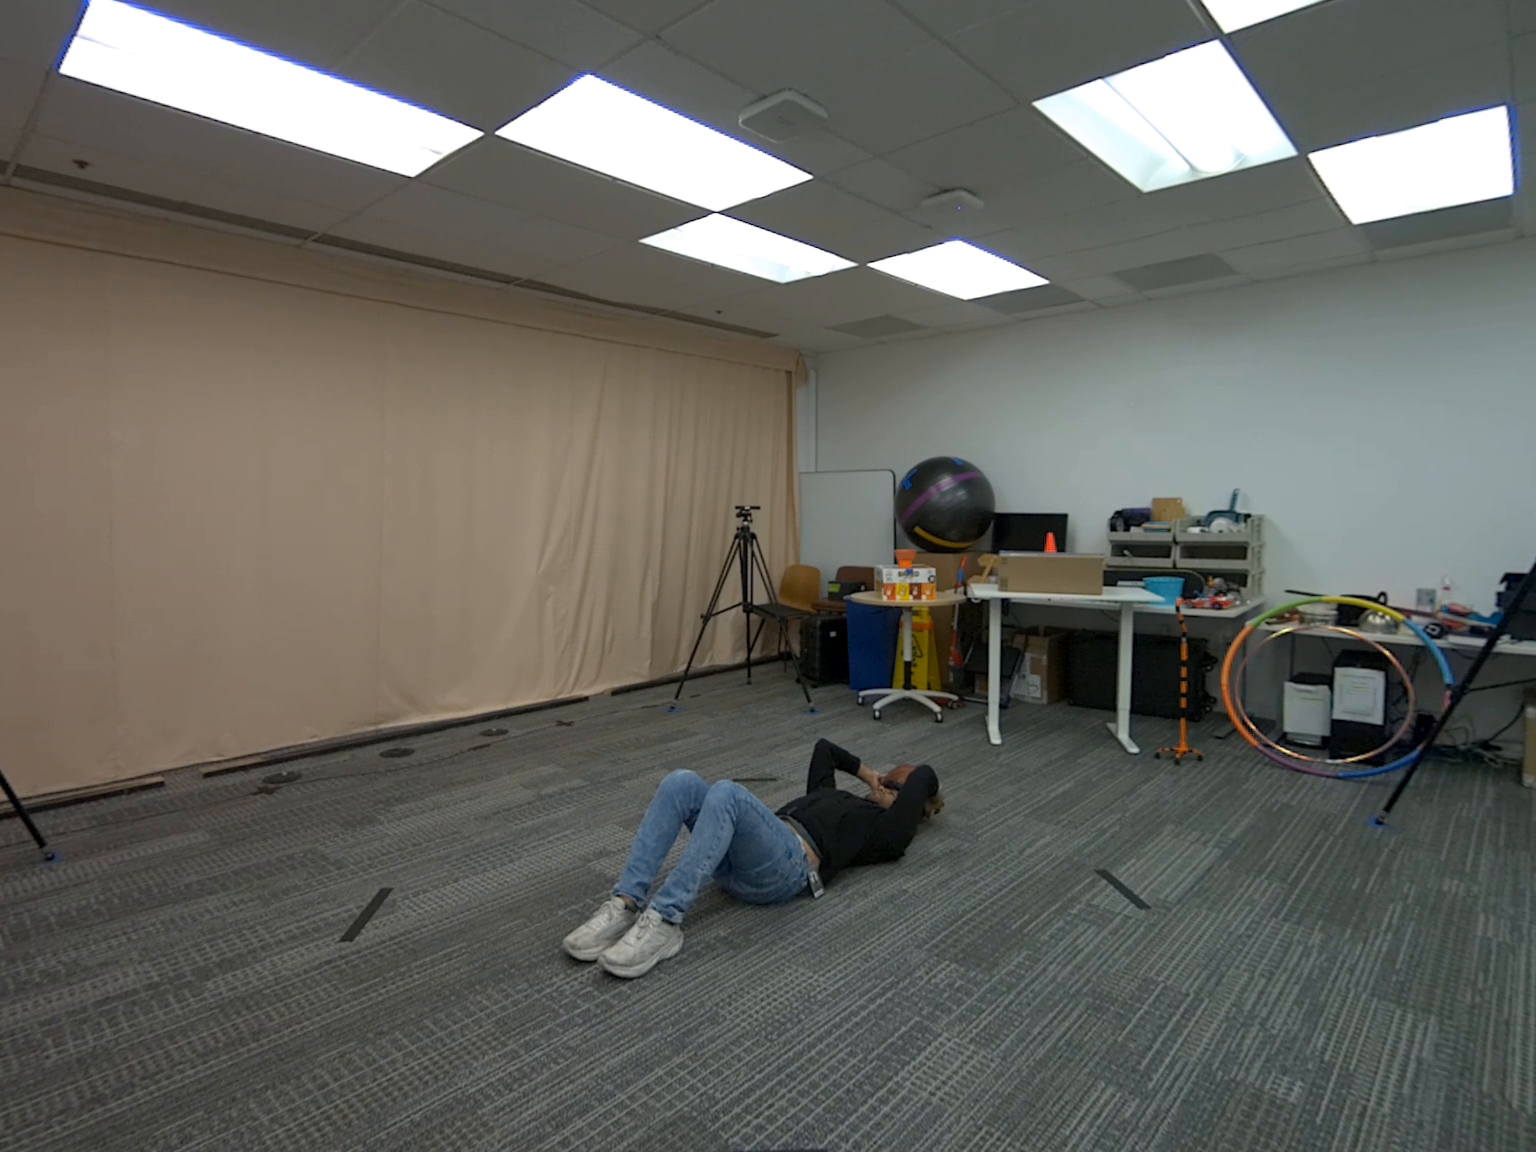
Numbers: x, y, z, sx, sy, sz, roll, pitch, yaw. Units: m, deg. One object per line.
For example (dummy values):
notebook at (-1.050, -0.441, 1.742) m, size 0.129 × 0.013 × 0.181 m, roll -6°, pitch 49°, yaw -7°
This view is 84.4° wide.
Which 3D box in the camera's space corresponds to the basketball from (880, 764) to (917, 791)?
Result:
basketball at (0.631, 0.961, 3.738) m, size 0.236 × 0.235 × 0.237 m, roll 0°, pitch 4°, yaw -2°
